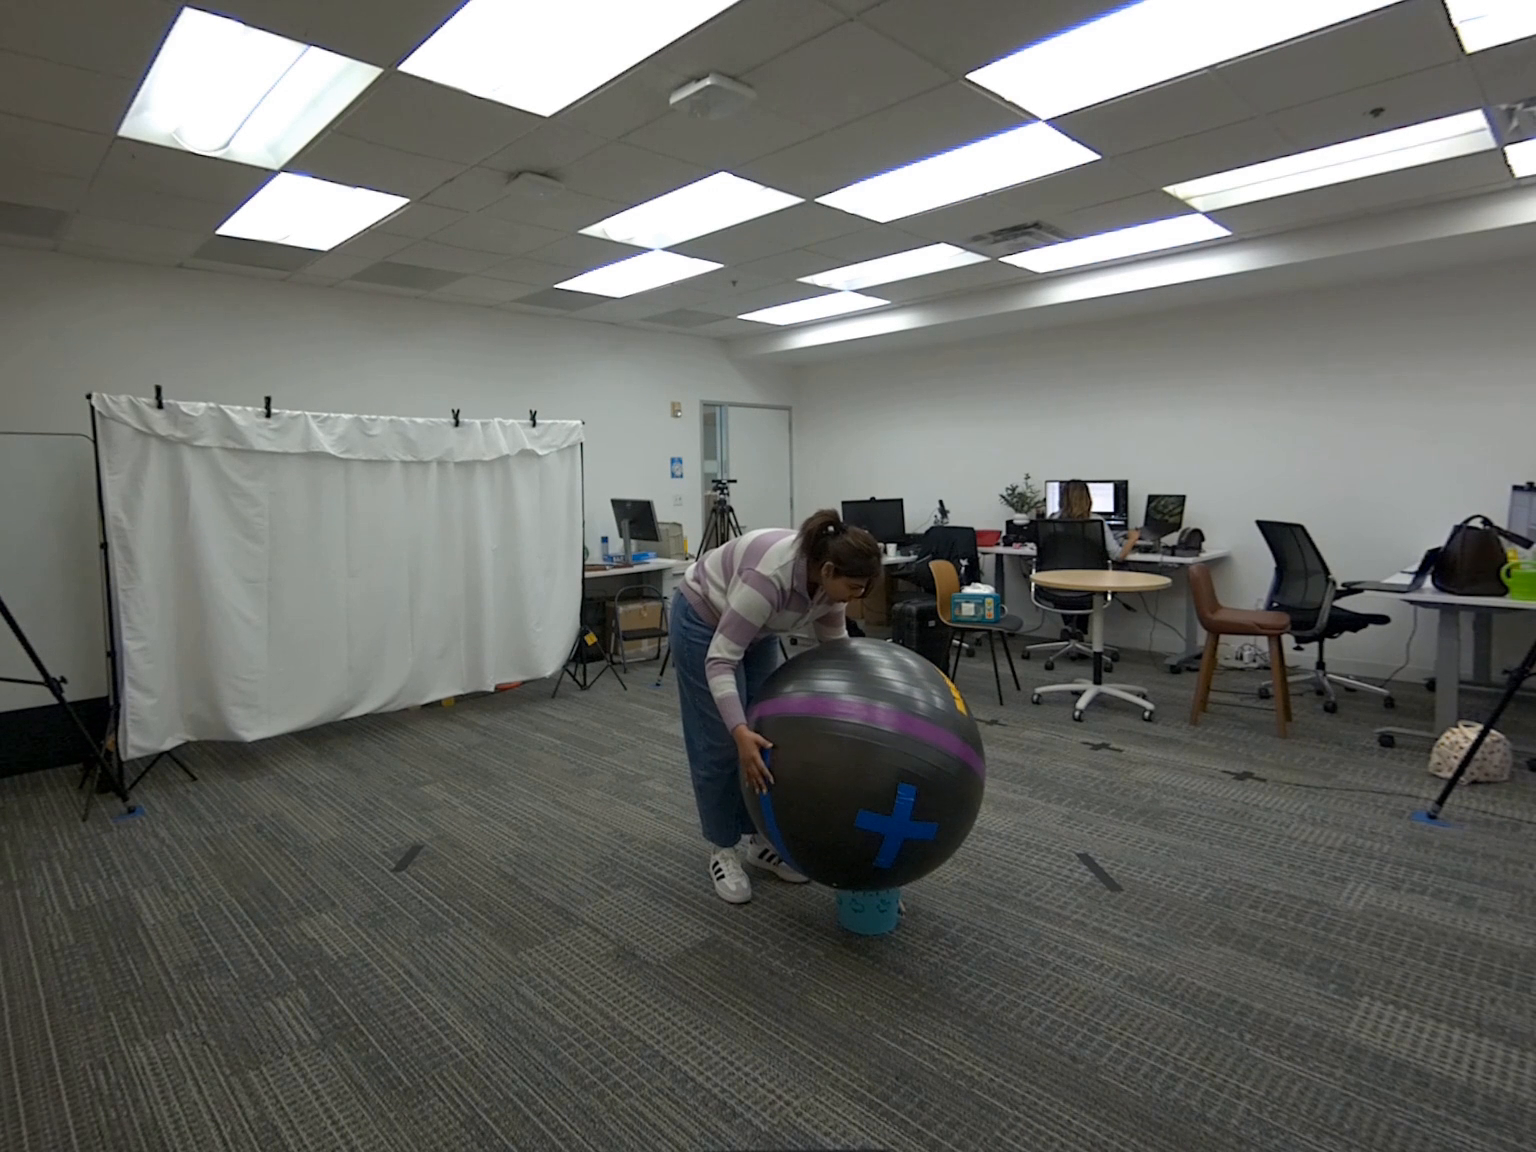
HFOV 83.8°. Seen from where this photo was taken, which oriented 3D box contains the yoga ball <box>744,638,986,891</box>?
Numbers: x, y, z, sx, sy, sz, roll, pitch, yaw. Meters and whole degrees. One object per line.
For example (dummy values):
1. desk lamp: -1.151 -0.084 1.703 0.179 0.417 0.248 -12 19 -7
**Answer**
1. yoga ball: 0.289 0.585 2.654 0.757 0.755 0.762 -1 5 -2
